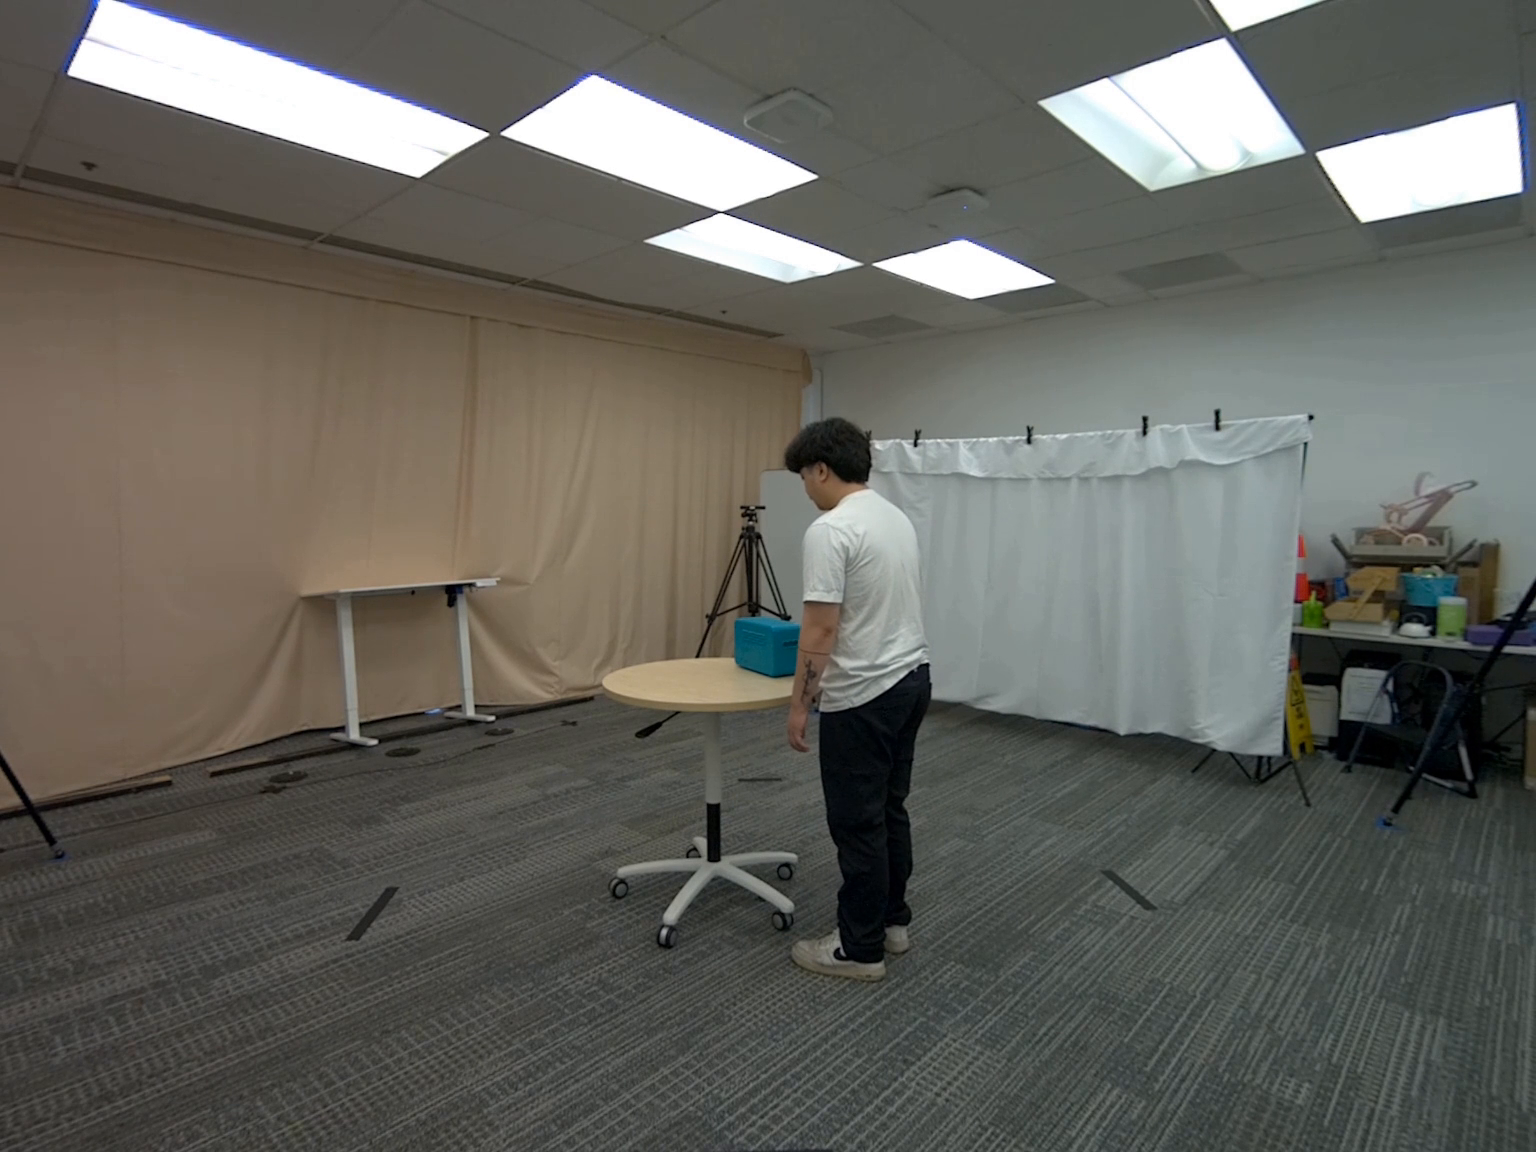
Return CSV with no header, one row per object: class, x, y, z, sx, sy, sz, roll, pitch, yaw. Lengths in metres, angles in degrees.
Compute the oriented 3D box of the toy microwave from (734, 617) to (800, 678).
toy microwave,0.010,0.251,3.059,0.148,0.184,0.294,-3,5,-31
